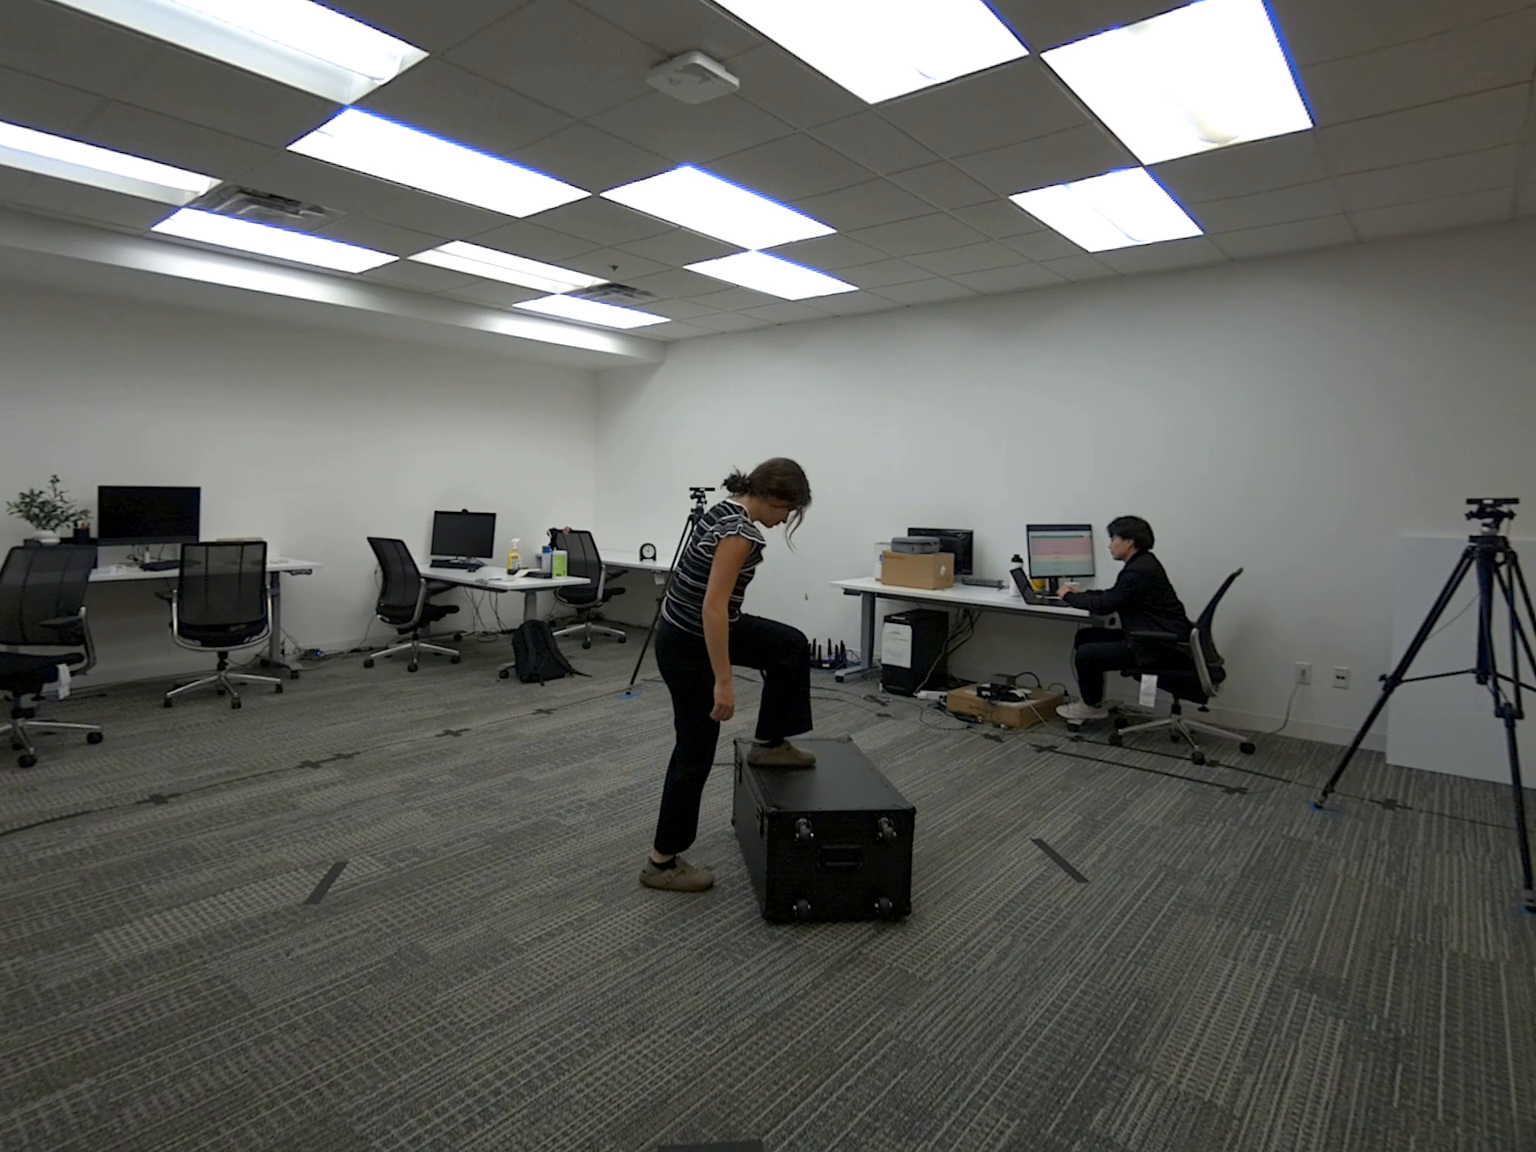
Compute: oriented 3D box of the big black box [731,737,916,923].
[{"bbox_3d":[0.162,0.884,3.065,0.516,0.395,0.873,0,5,-10],"label":"big black box"}]
